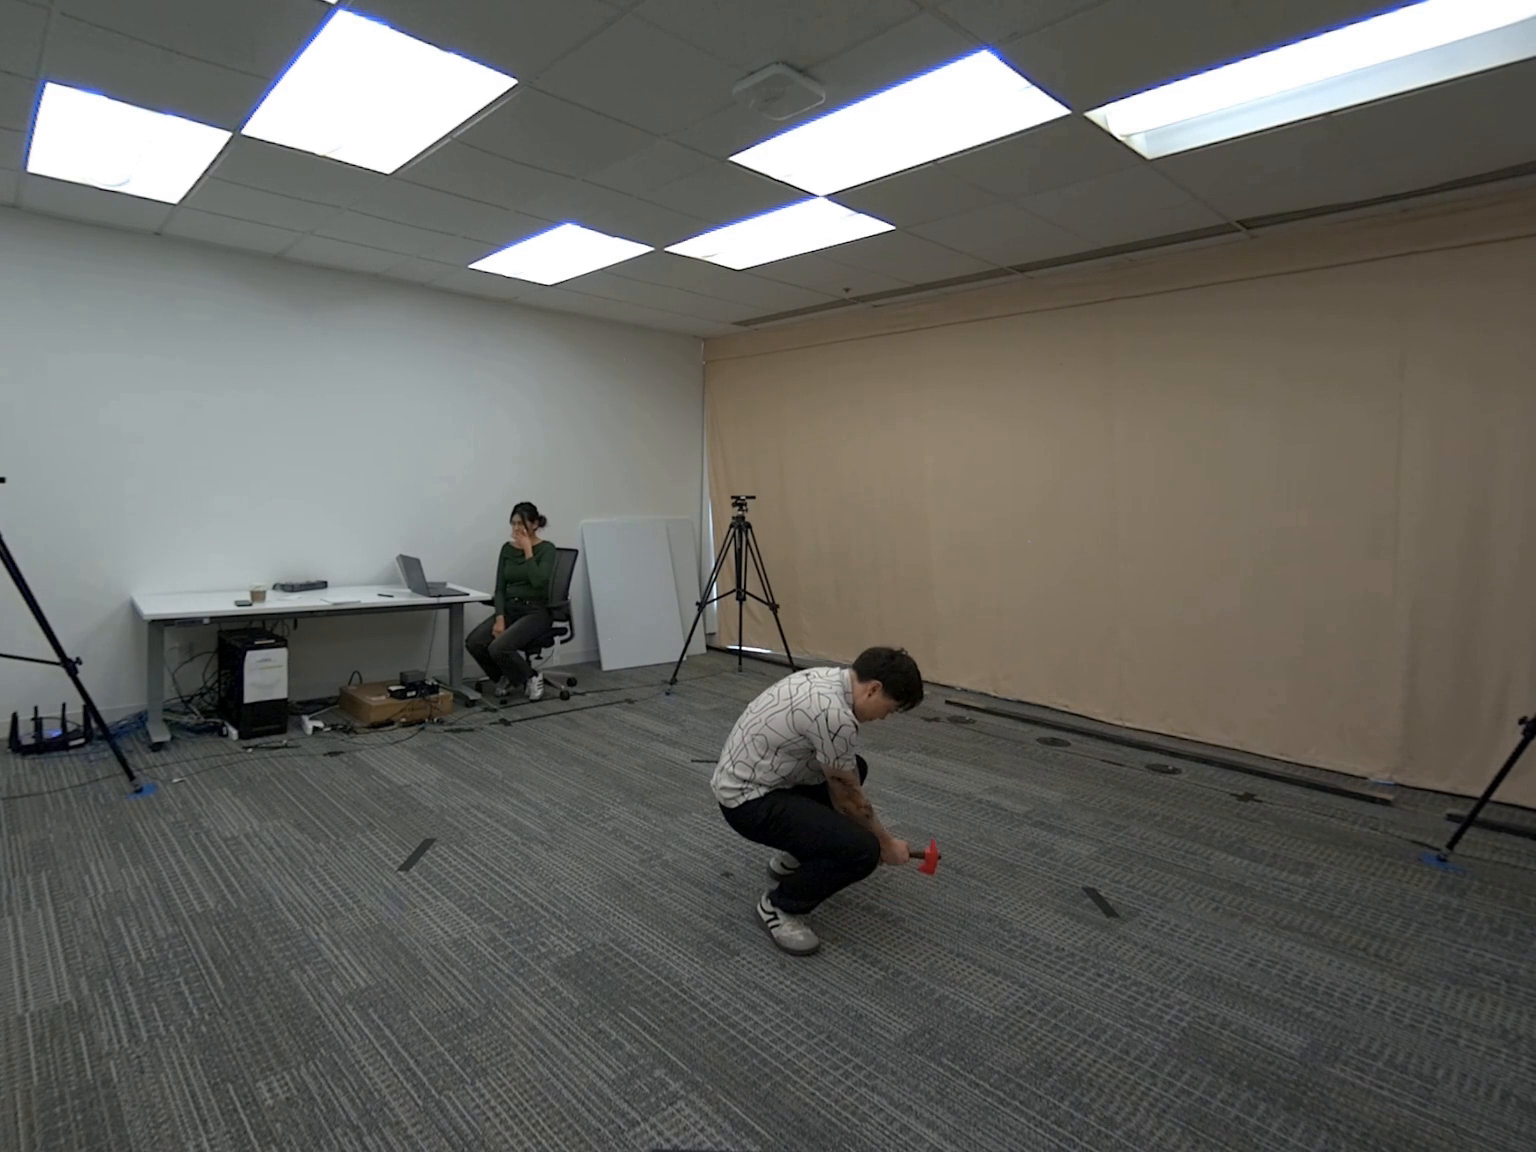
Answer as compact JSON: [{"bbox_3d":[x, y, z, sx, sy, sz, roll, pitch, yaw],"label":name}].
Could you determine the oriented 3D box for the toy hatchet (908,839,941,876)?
[{"bbox_3d":[0.440,0.966,2.851,0.272,0.130,0.029,-18,7,18],"label":"toy hatchet"}]
